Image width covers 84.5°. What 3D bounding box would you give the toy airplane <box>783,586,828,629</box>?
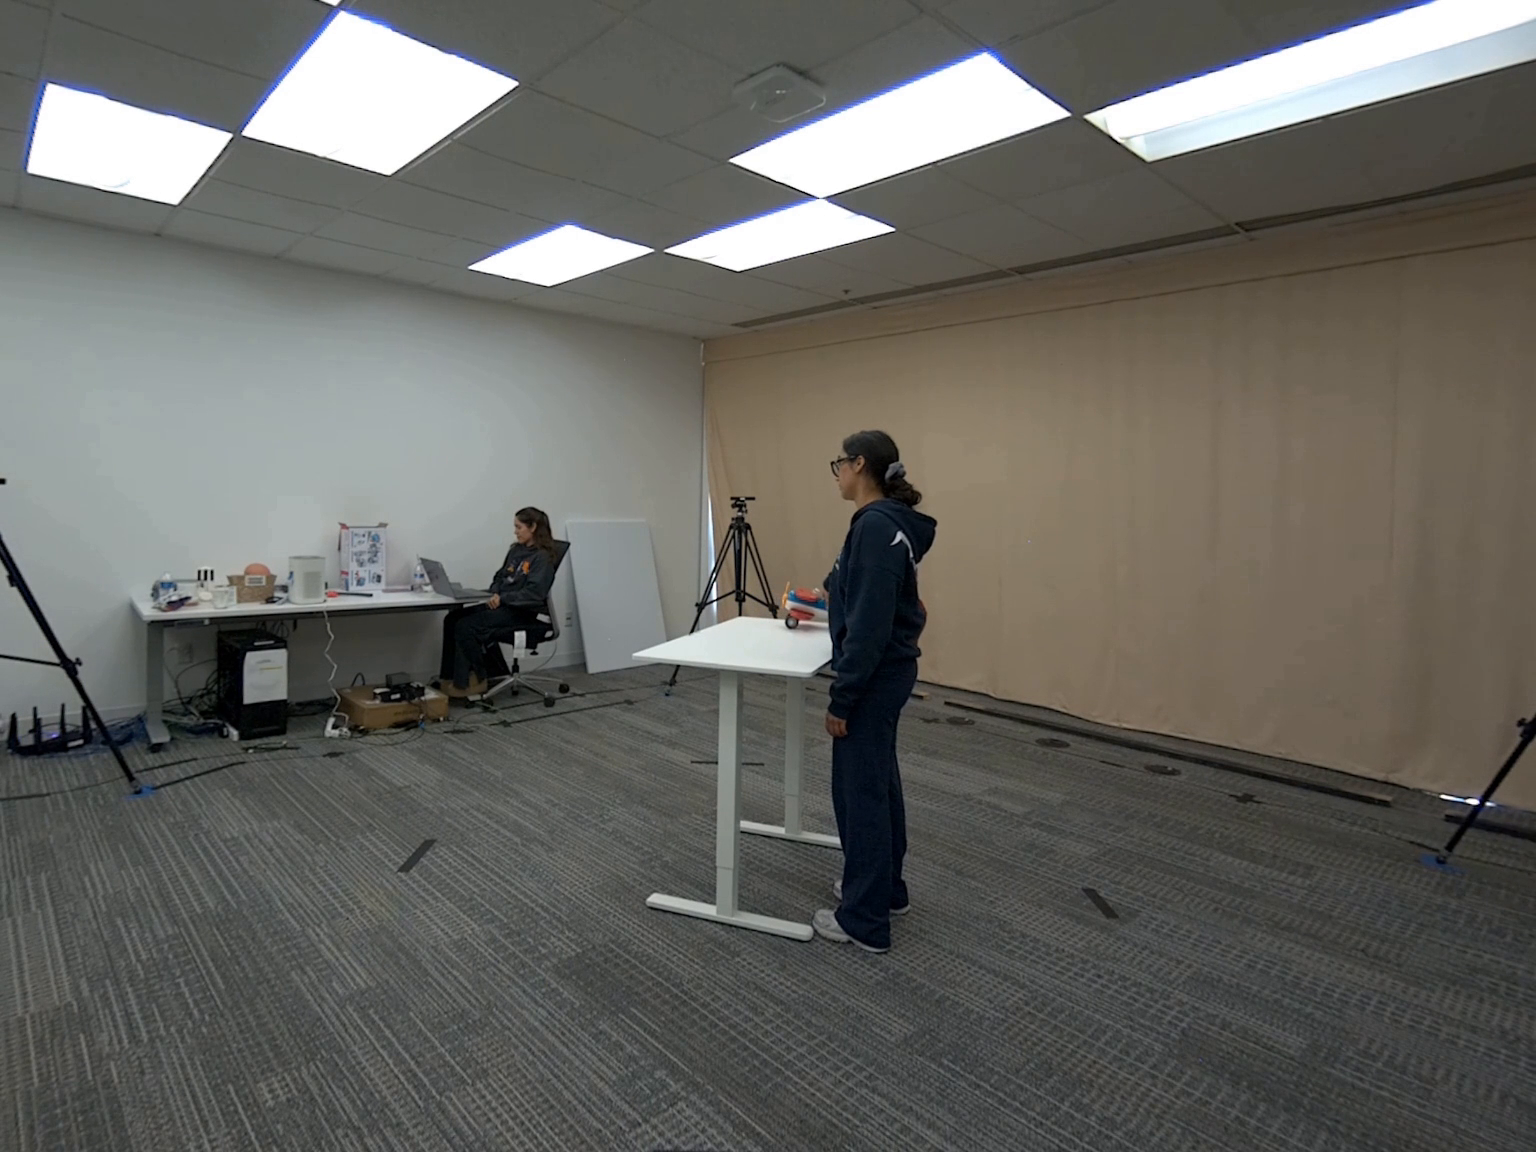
[{"bbox_3d":[0.175,0.128,3.389,0.255,0.156,0.256,-1,6,-24],"label":"toy airplane"}]
